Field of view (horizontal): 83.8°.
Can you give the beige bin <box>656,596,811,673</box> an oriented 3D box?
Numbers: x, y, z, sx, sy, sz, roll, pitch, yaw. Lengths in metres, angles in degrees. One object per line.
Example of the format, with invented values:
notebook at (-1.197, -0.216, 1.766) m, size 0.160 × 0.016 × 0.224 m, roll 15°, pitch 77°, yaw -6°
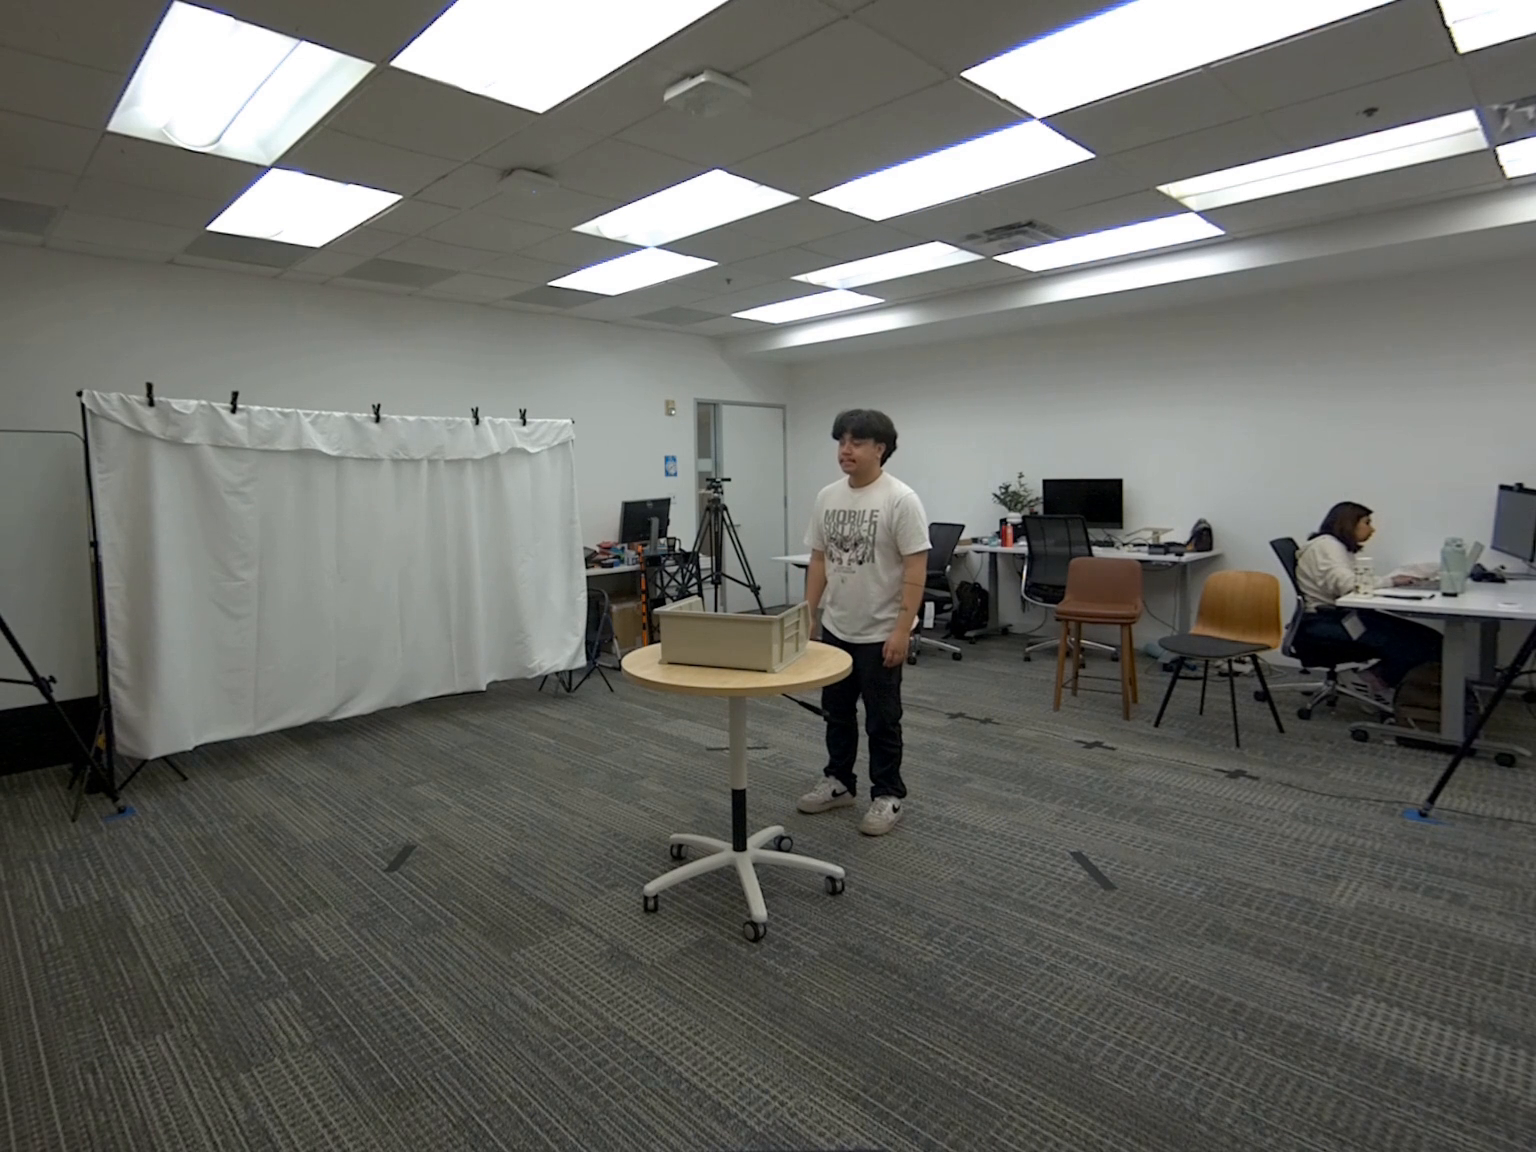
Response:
beige bin at (-0.109, 0.185, 2.860) m, size 0.431 × 0.188 × 0.372 m, roll 2°, pitch 8°, yaw 21°
